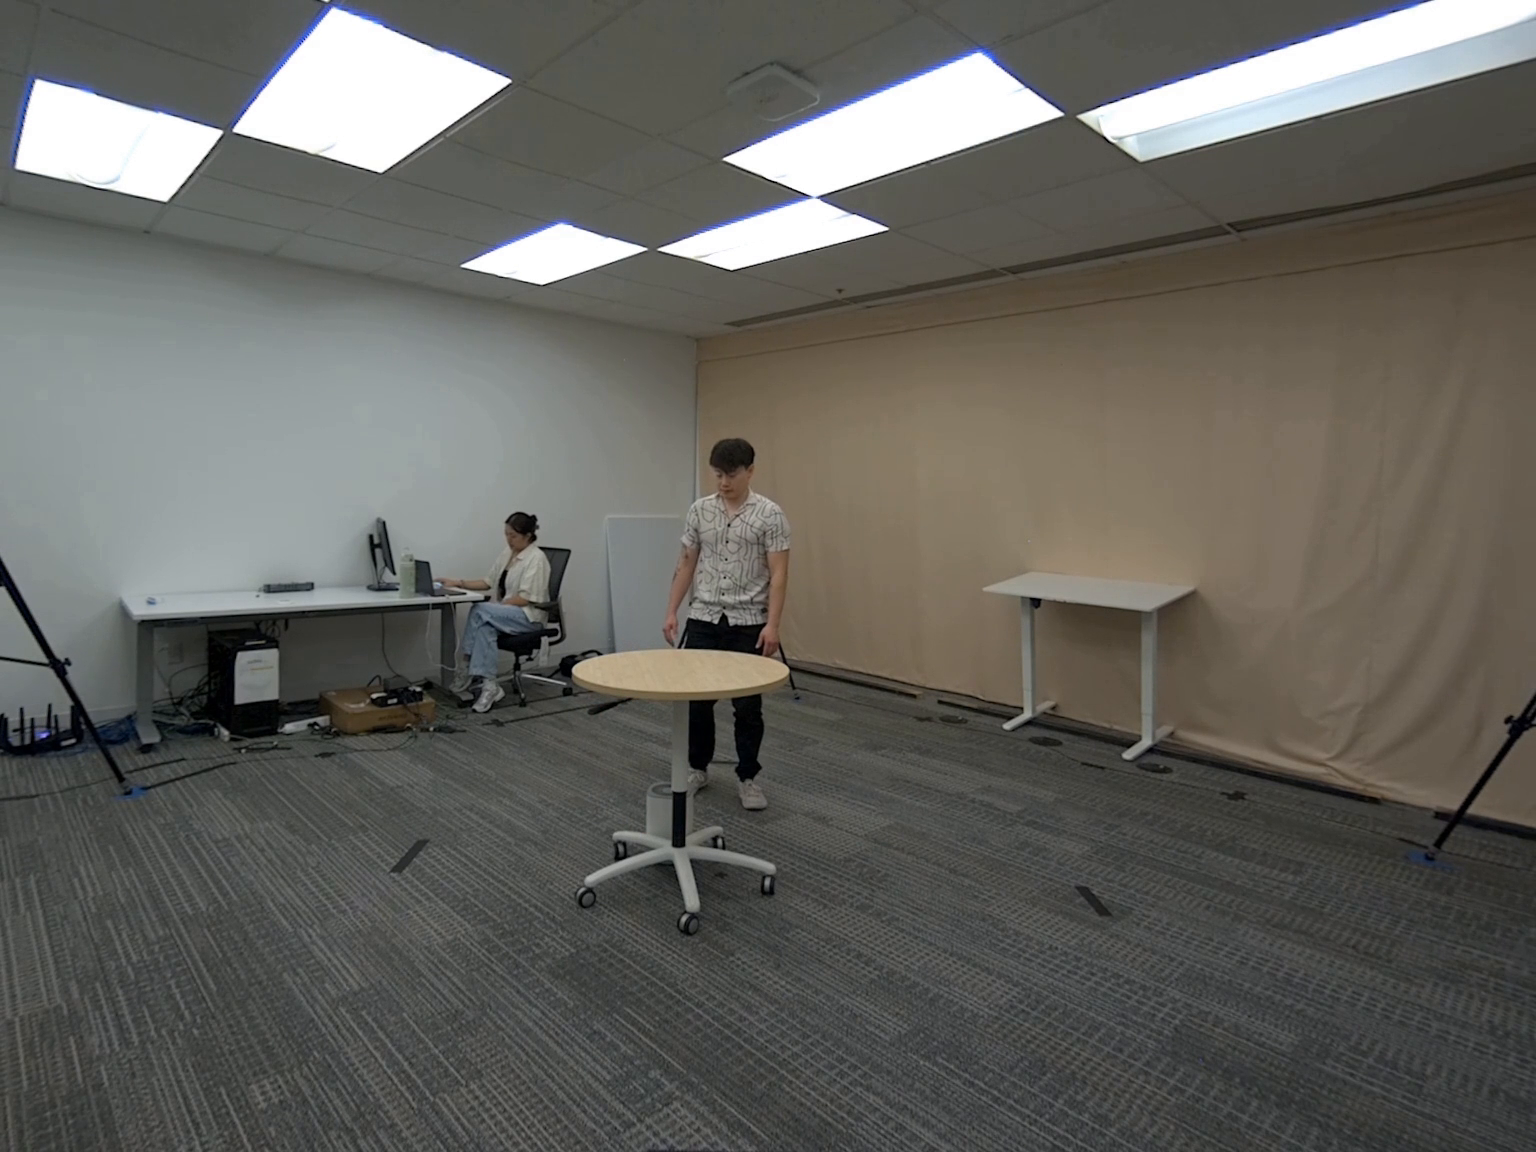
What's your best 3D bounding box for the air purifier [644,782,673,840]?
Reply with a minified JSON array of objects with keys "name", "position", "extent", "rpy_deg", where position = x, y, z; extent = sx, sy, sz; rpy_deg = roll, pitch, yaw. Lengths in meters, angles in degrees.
[{"name":"air purifier","position":[-0.390,0.954,3.242],"extent":[0.171,0.264,0.171],"rpy_deg":[2,4,3]}]
